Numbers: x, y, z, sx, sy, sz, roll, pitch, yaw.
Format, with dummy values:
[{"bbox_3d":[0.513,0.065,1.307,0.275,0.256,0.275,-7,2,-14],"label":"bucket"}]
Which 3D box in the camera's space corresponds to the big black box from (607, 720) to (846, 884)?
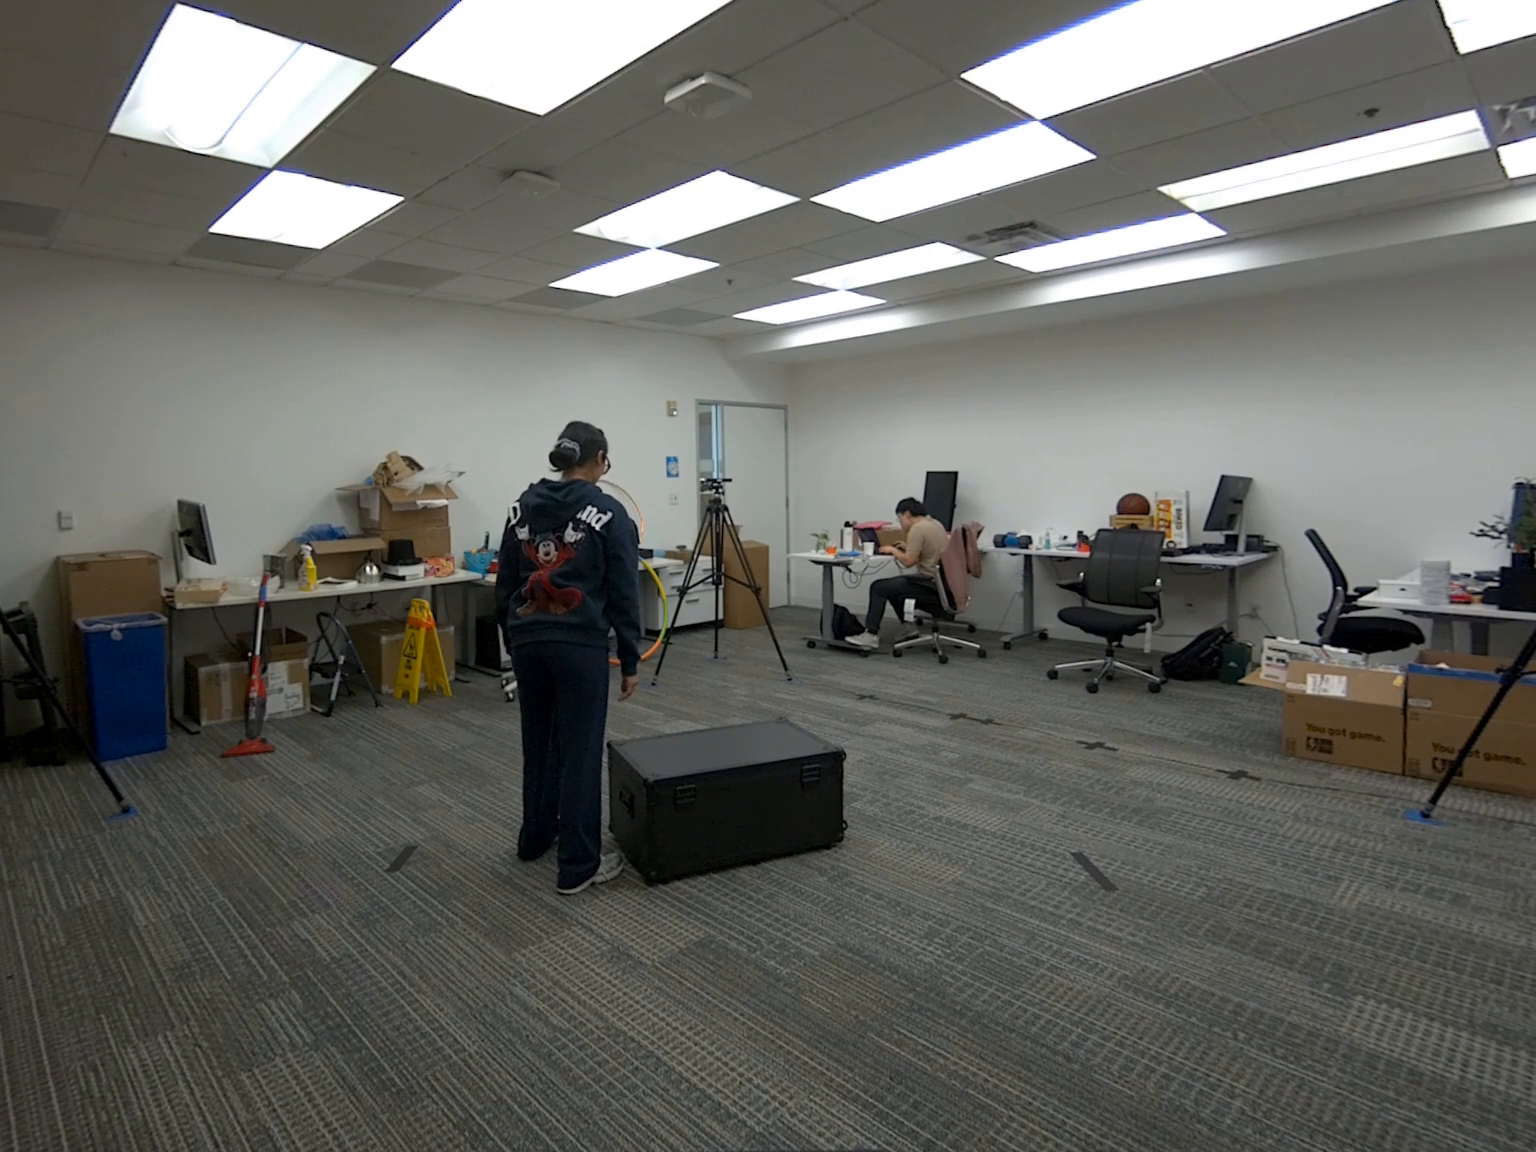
[{"bbox_3d":[-0.140,0.850,3.323,0.844,0.519,0.406,-5,6,-25],"label":"big black box"}]
